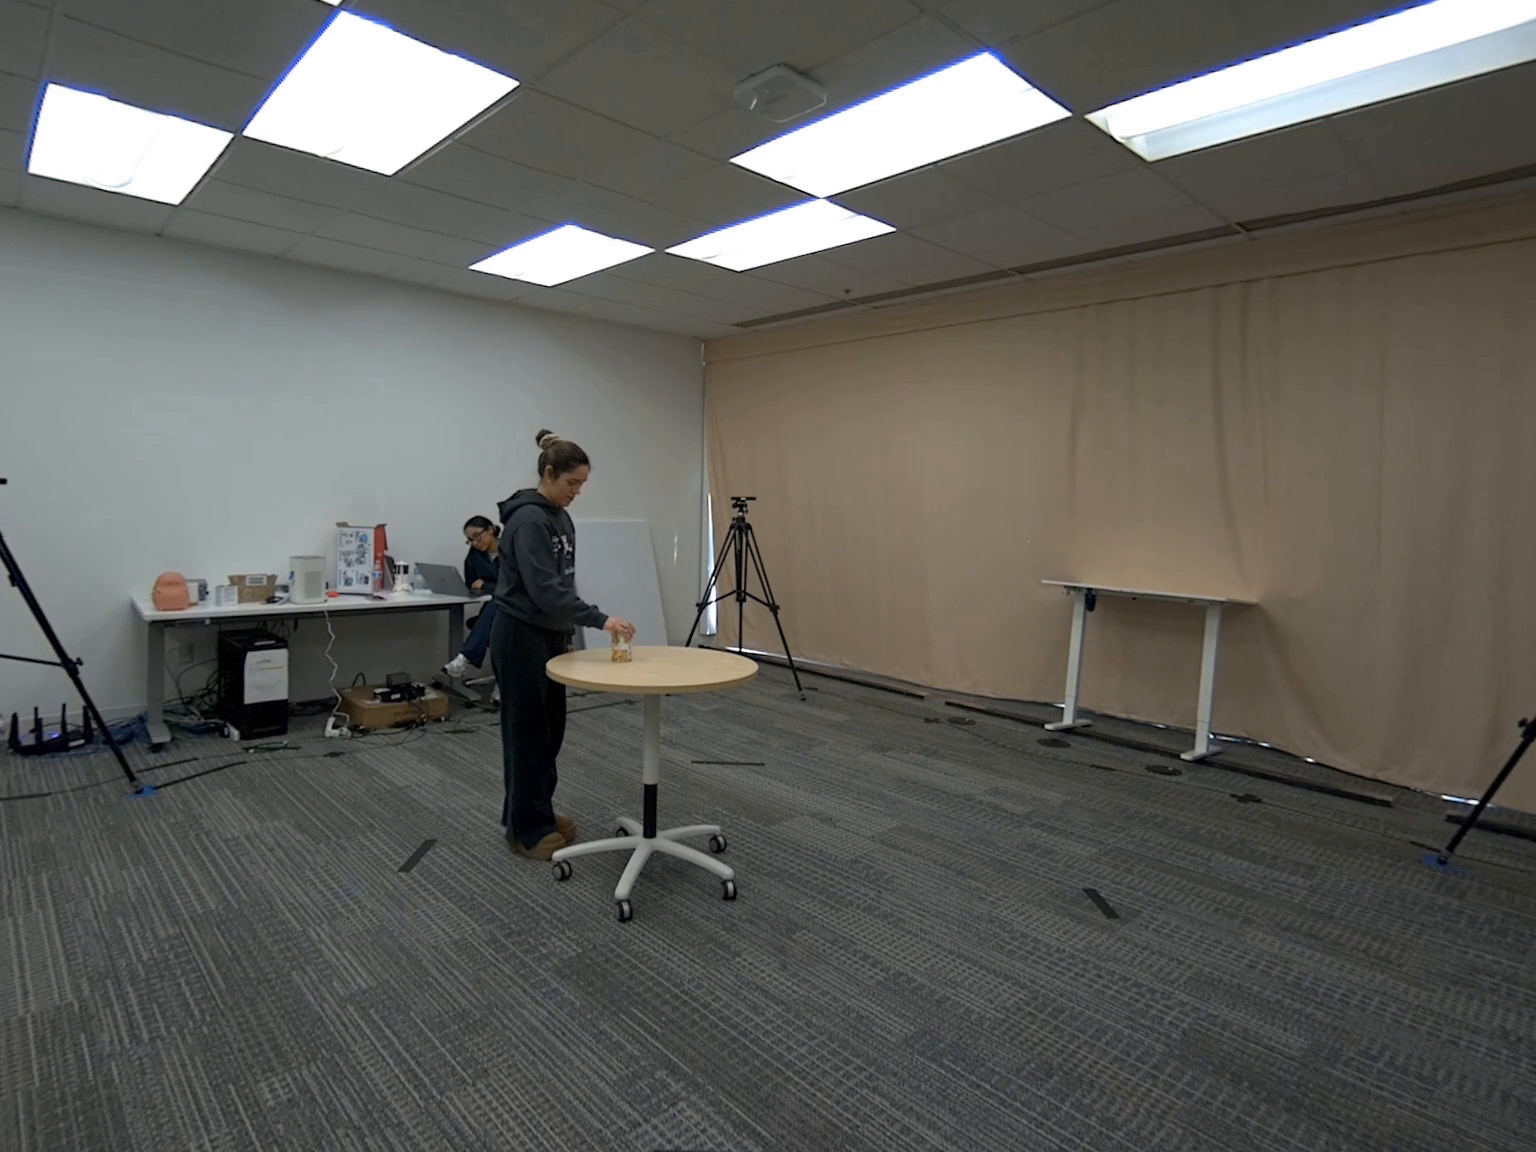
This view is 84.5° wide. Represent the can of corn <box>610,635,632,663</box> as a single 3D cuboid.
[{"bbox_3d":[-0.555,0.224,3.107,0.074,0.110,0.074,-5,6,-1],"label":"can of corn"}]
